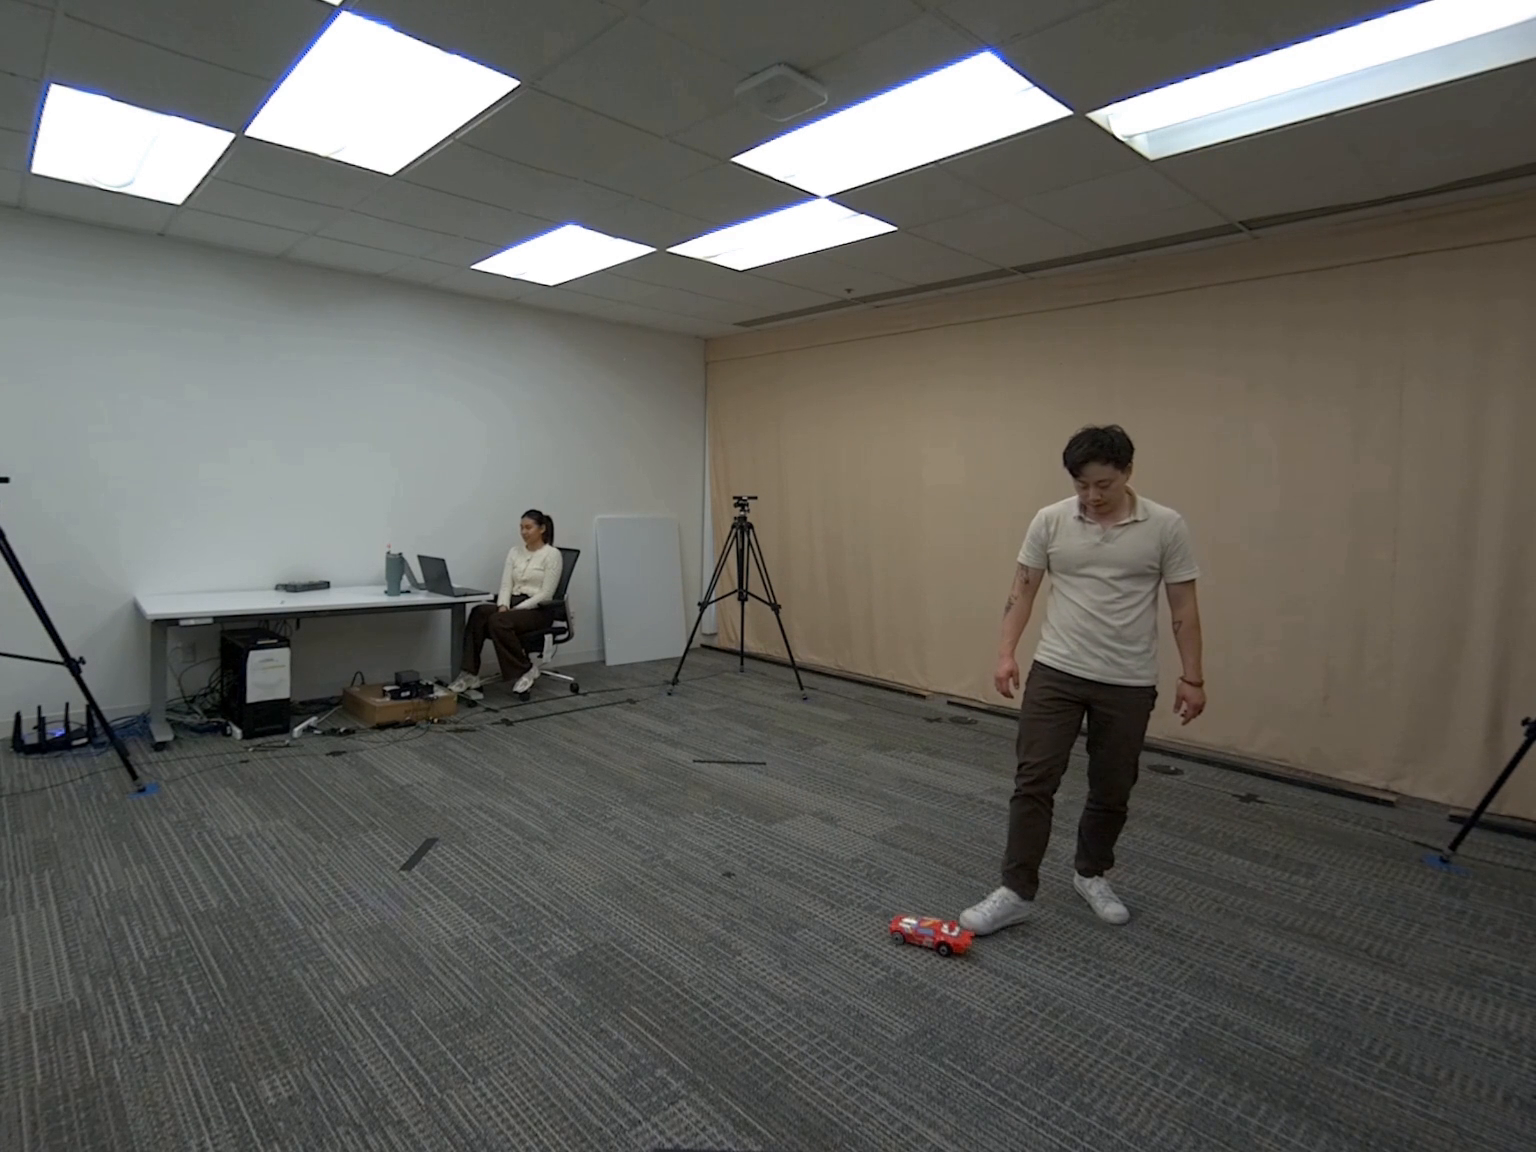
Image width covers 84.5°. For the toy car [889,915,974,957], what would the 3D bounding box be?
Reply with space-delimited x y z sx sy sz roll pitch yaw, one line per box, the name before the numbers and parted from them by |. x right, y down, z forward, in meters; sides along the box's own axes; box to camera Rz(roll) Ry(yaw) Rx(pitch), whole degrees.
toy car | 0.523 1.130 2.641 0.259 0.083 0.128 -8 0 27
